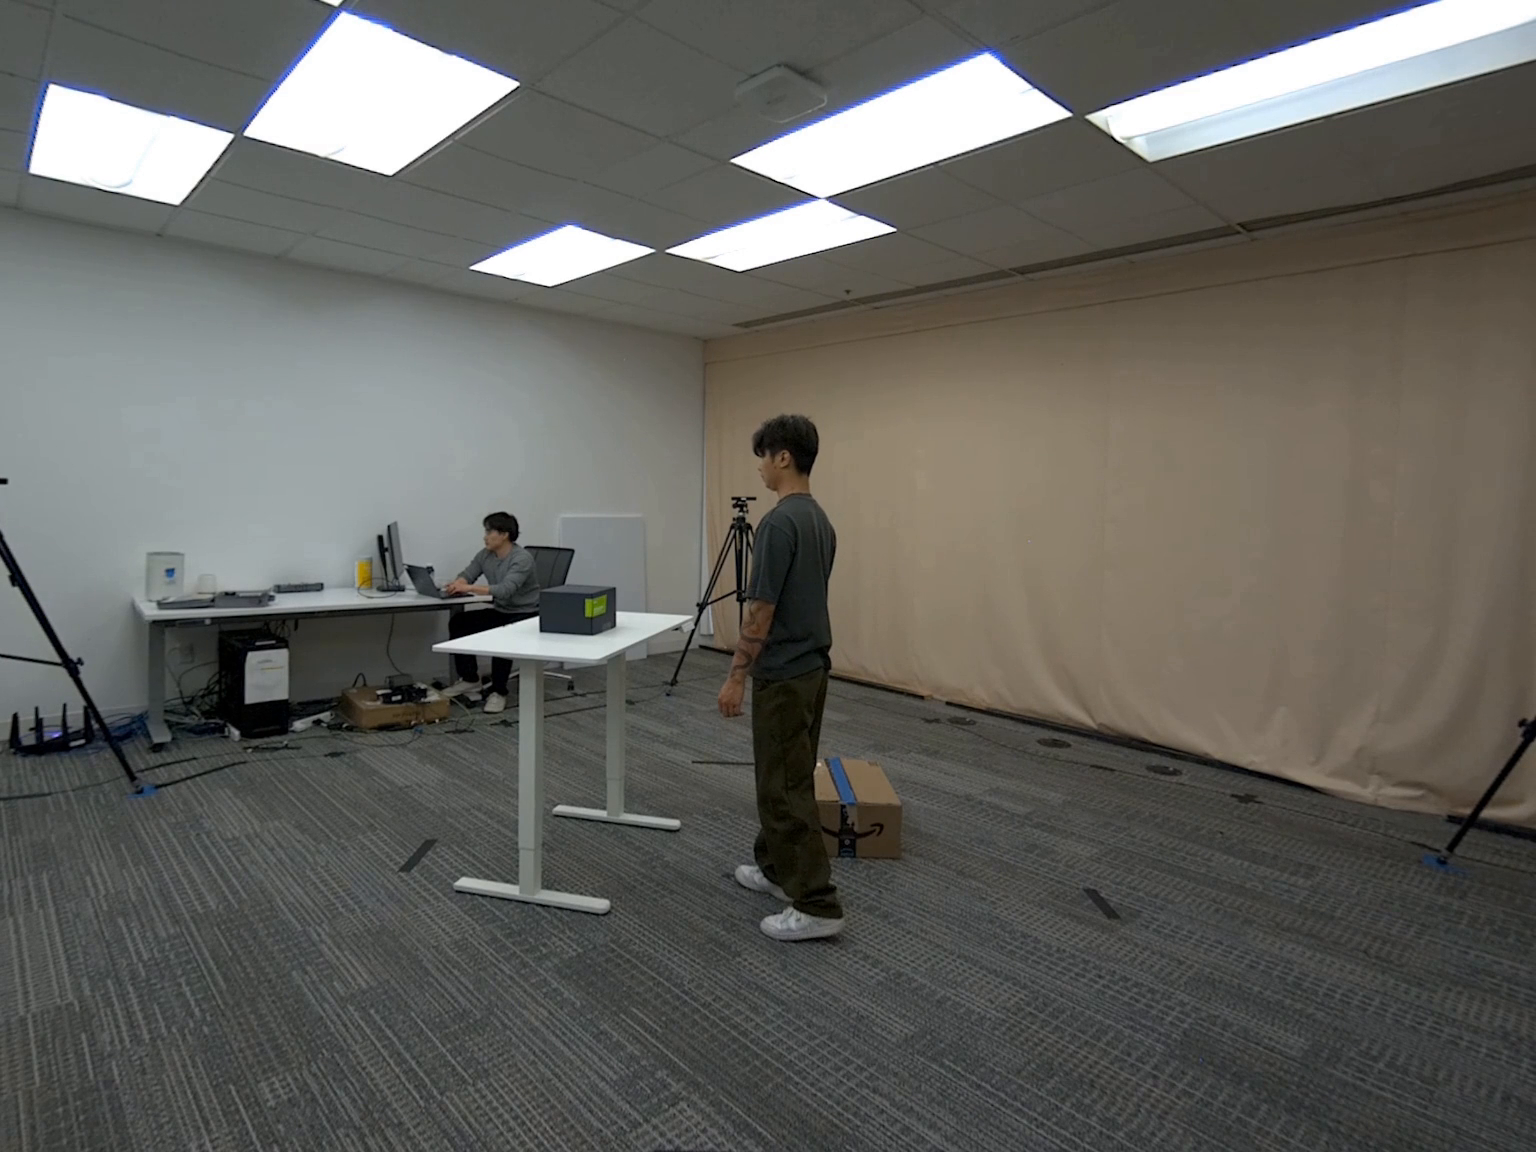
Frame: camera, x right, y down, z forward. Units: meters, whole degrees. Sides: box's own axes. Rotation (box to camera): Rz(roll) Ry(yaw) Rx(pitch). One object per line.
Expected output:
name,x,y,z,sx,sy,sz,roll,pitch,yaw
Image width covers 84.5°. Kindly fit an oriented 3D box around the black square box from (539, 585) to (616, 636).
black square box,-0.724,0.123,3.186,0.220,0.155,0.226,2,6,15
